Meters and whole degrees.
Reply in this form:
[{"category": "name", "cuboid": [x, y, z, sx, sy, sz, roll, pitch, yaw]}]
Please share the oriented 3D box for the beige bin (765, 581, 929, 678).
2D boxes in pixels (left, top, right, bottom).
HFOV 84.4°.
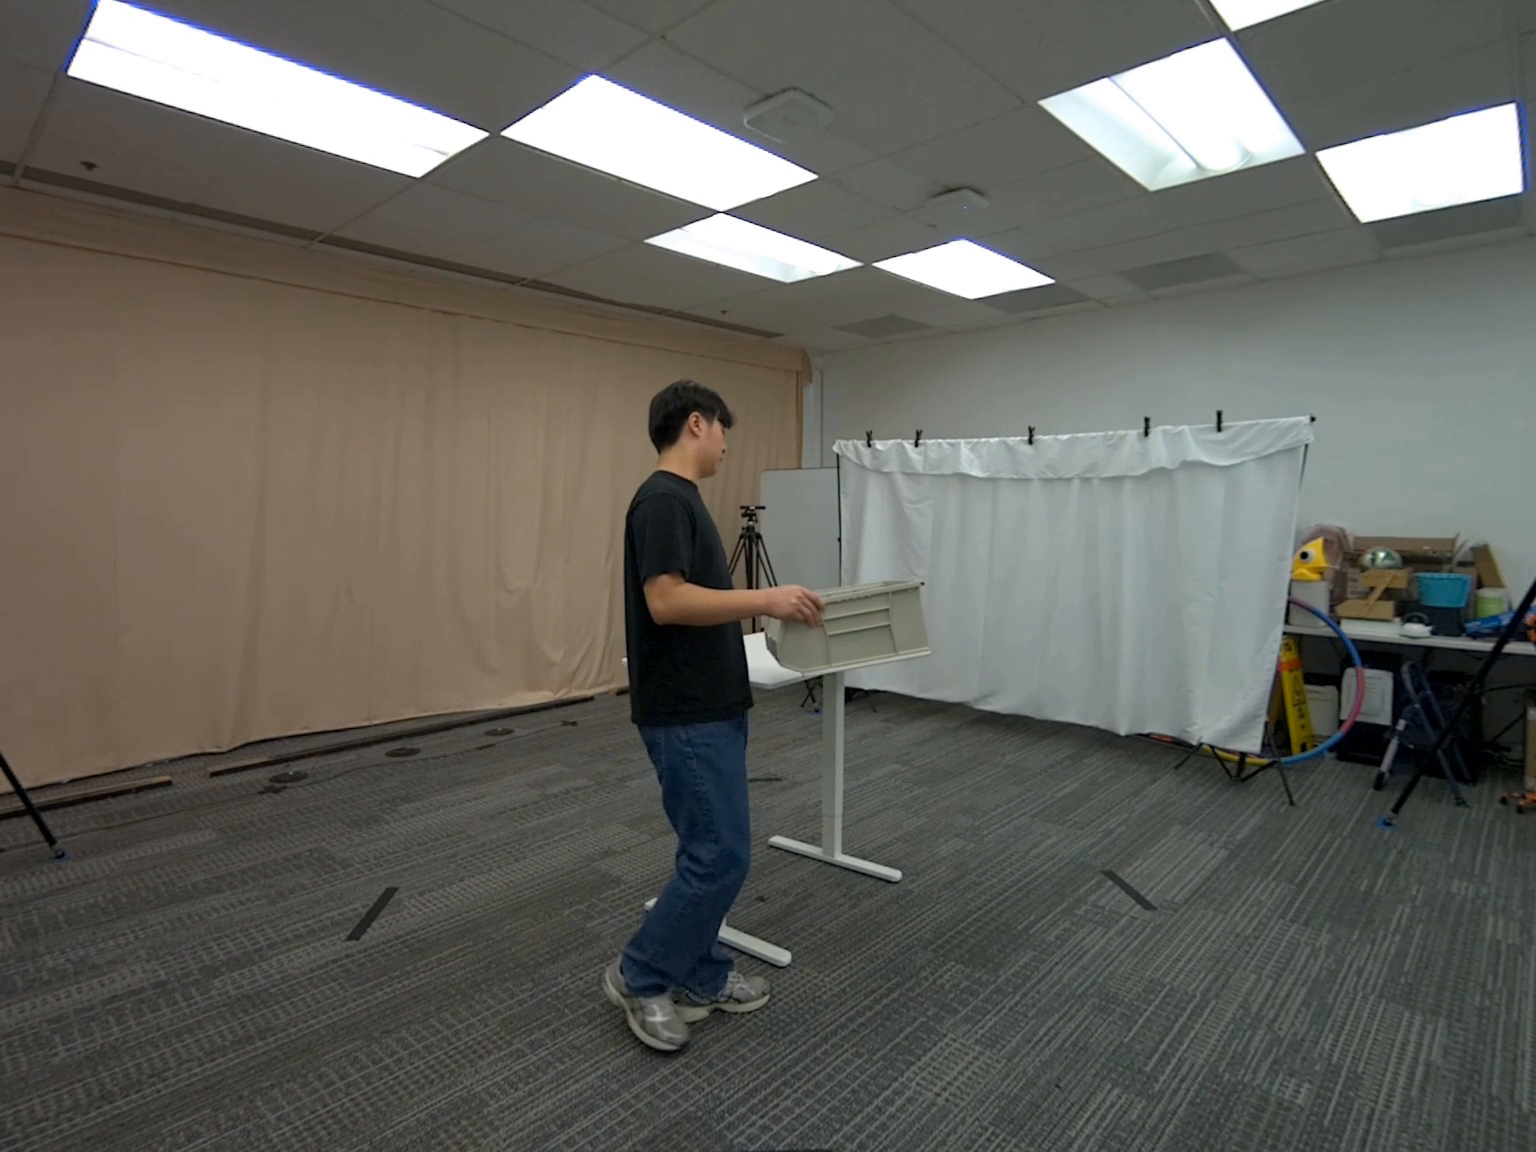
[{"category": "beige bin", "cuboid": [0.192, 0.140, 2.206, 0.377, 0.189, 0.423, -9, -1, -3]}]
